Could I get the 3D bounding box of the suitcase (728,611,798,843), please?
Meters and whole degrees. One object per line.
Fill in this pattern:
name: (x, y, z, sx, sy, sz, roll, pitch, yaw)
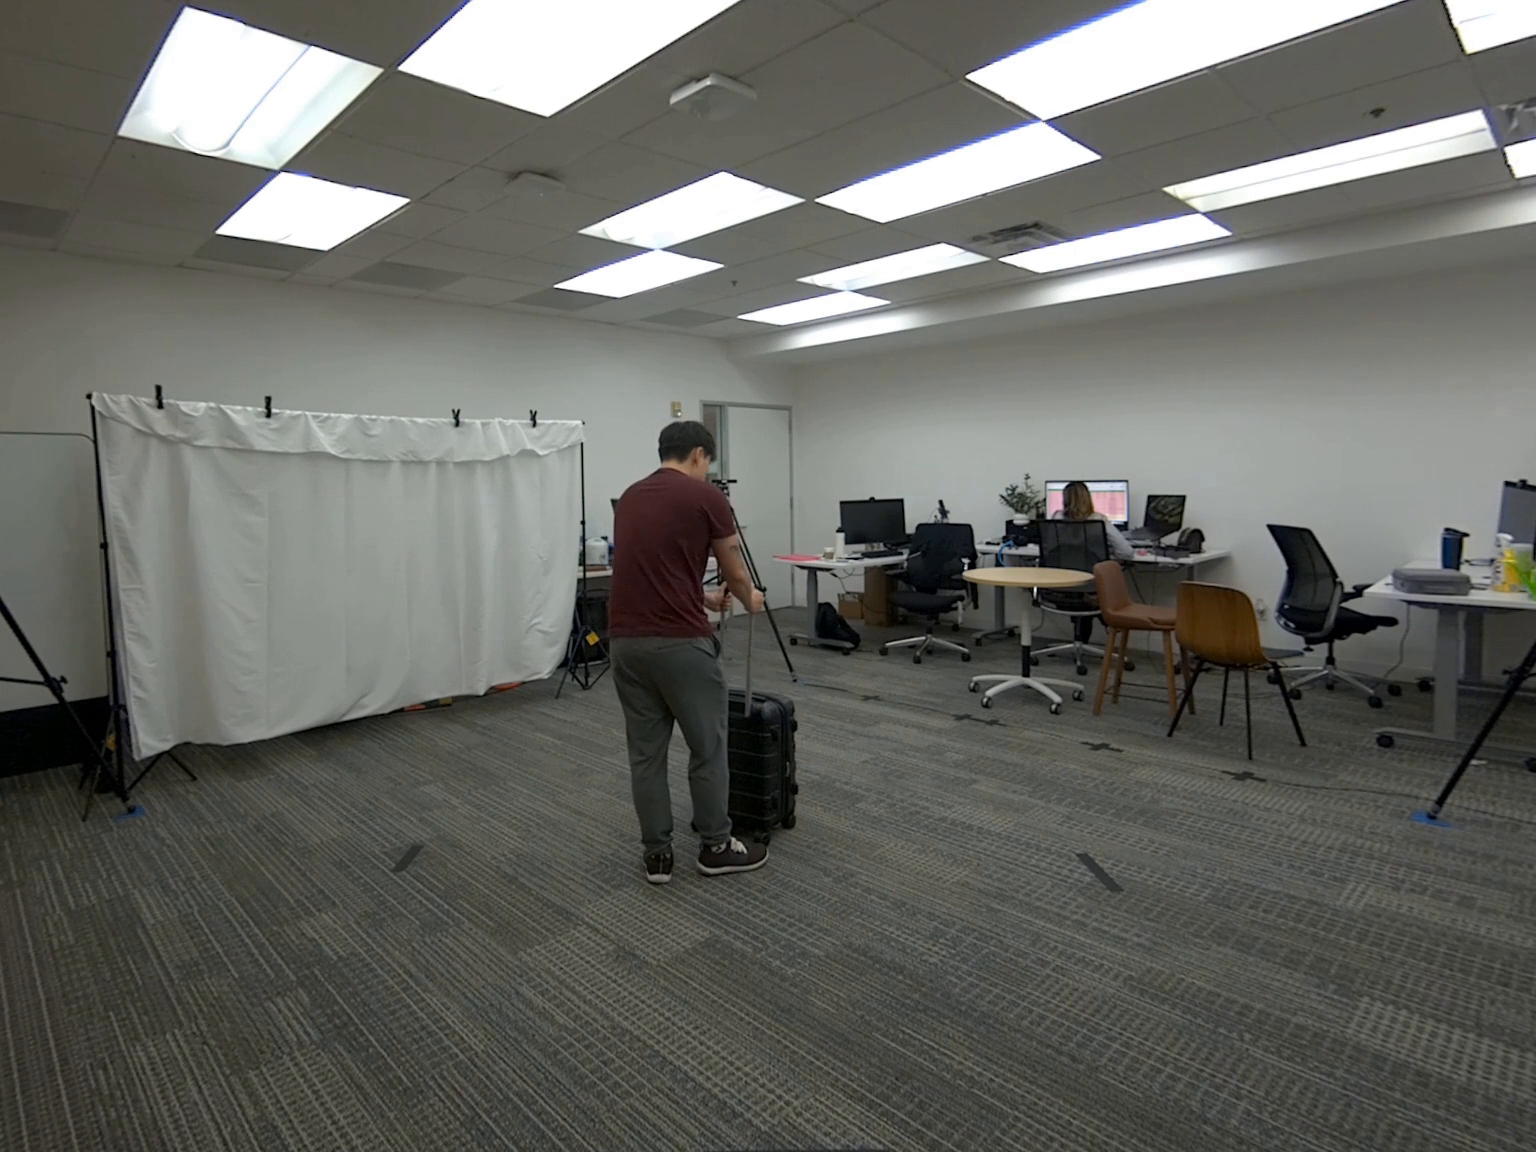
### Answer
suitcase: (-0.077, 0.535, 3.440, 0.394, 0.979, 0.250, 1, -1, 31)
